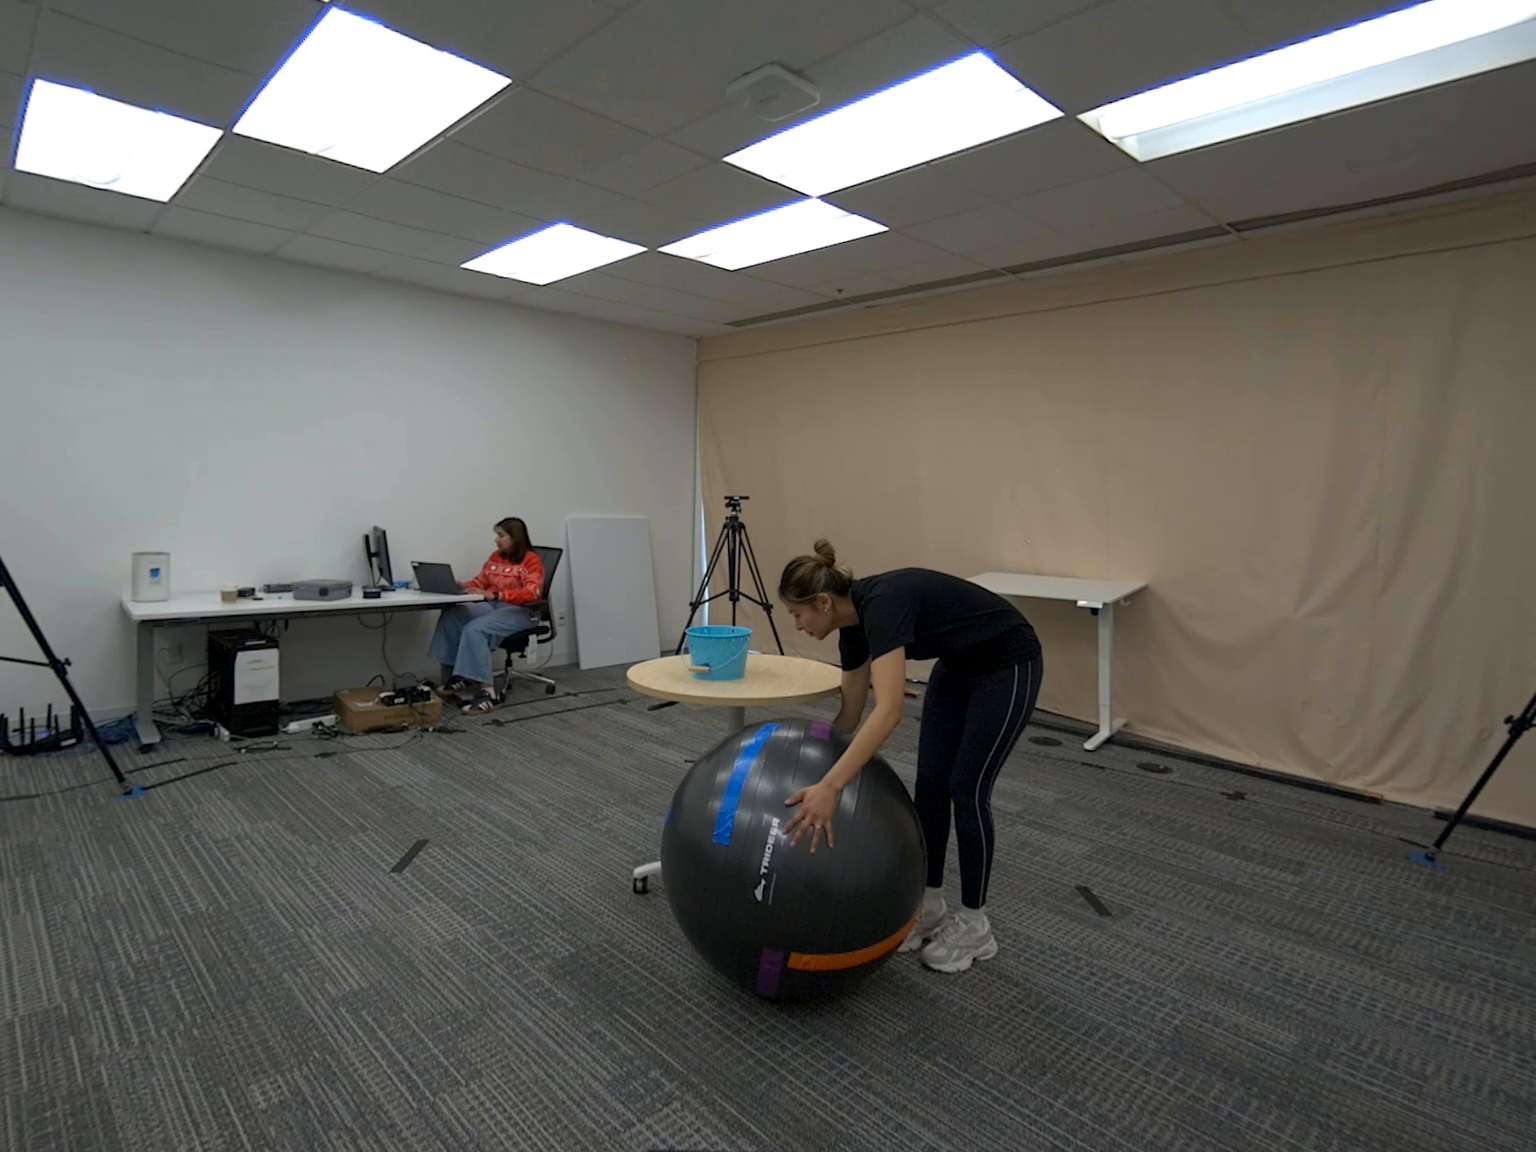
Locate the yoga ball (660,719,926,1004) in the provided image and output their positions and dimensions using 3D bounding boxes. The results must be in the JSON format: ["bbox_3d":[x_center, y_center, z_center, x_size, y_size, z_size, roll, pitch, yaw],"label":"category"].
[{"bbox_3d":[0.065,0.807,2.426,0.757,0.756,0.761,1,4,-1],"label":"yoga ball"}]
